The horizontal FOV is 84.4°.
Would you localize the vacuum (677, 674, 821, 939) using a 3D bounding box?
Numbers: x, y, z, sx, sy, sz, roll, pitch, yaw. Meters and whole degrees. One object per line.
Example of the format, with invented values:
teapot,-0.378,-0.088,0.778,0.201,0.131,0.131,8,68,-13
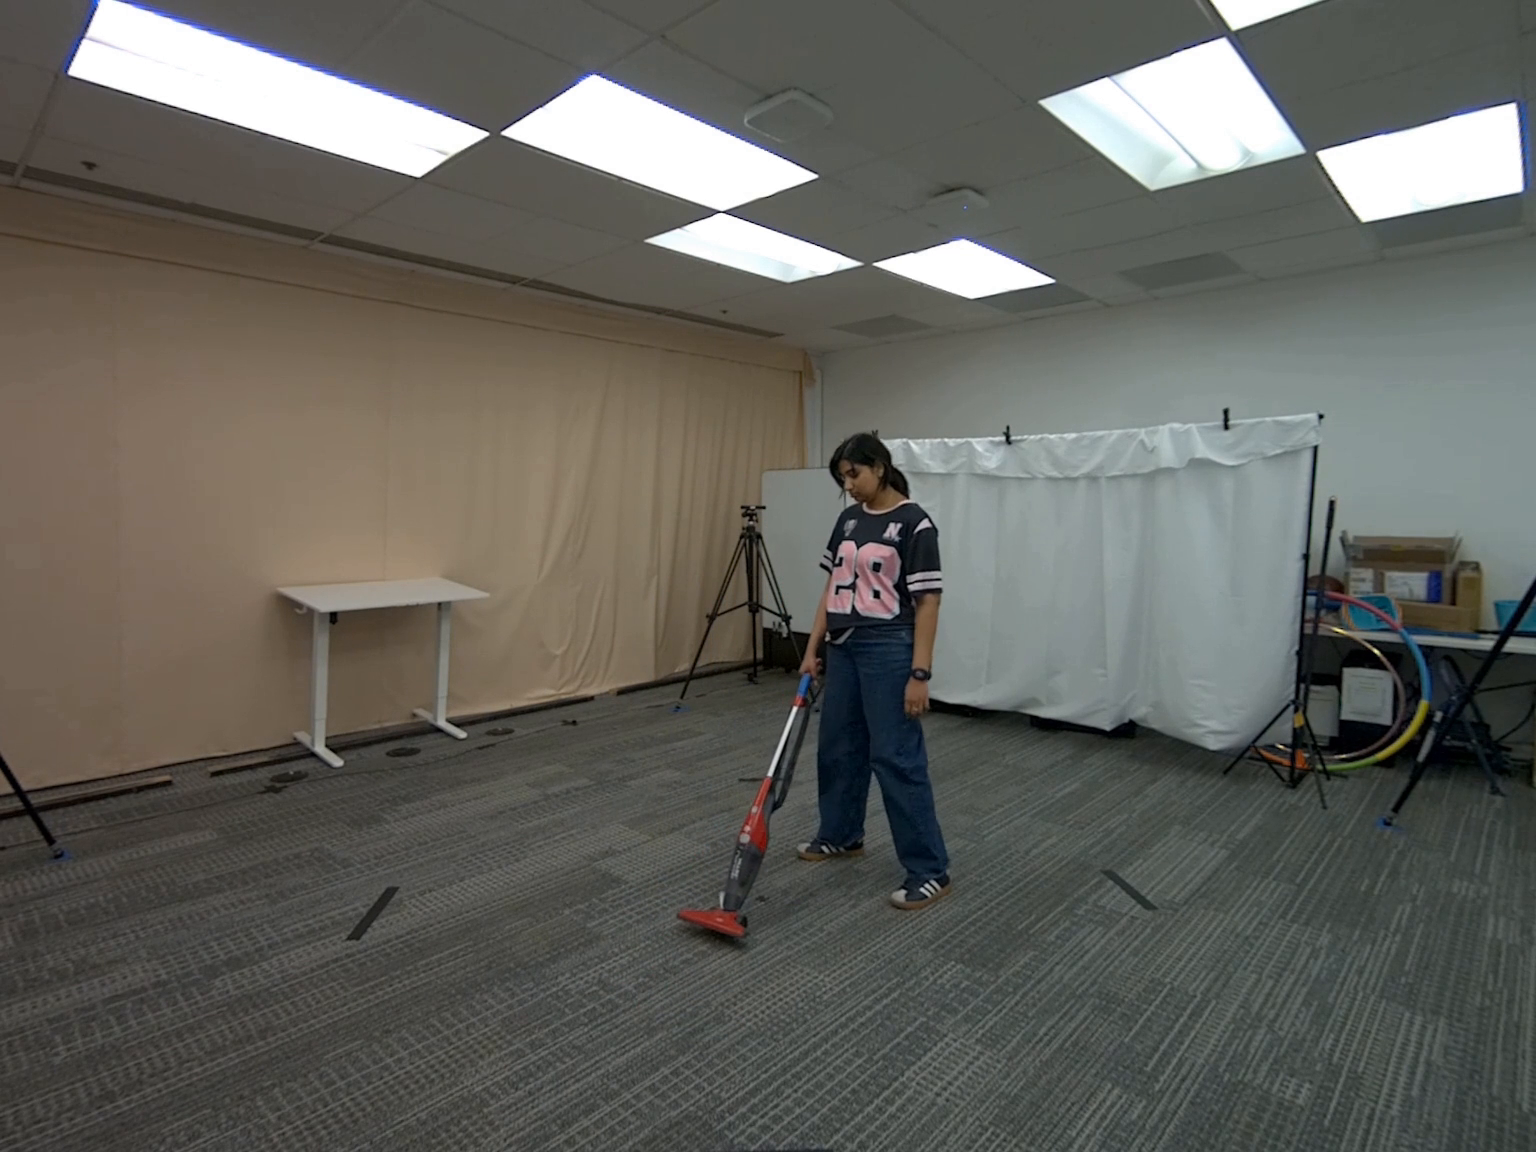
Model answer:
vacuum,0.016,0.747,3.018,0.260,1.052,0.139,4,-38,27
